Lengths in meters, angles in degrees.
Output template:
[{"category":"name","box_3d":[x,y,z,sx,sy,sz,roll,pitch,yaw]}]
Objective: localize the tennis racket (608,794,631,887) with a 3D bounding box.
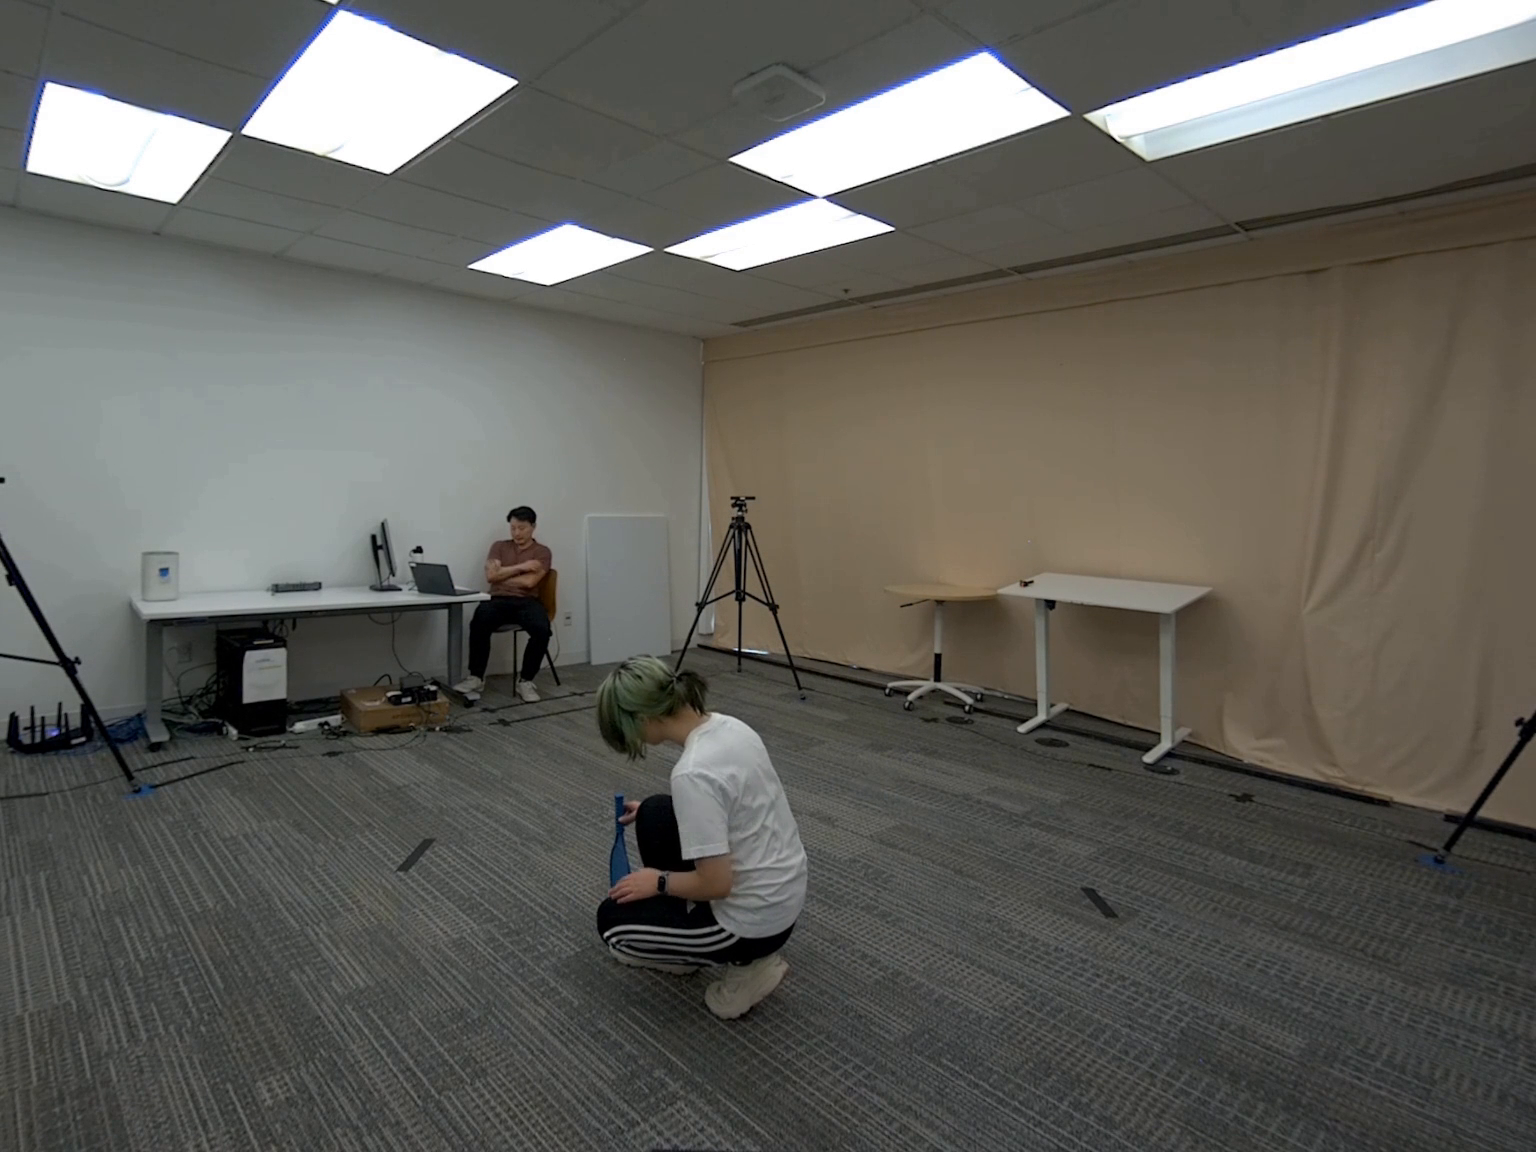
[{"category":"tennis racket","box_3d":[-0.483,0.917,2.707,0.031,0.432,0.217,-1,1,-23]}]
